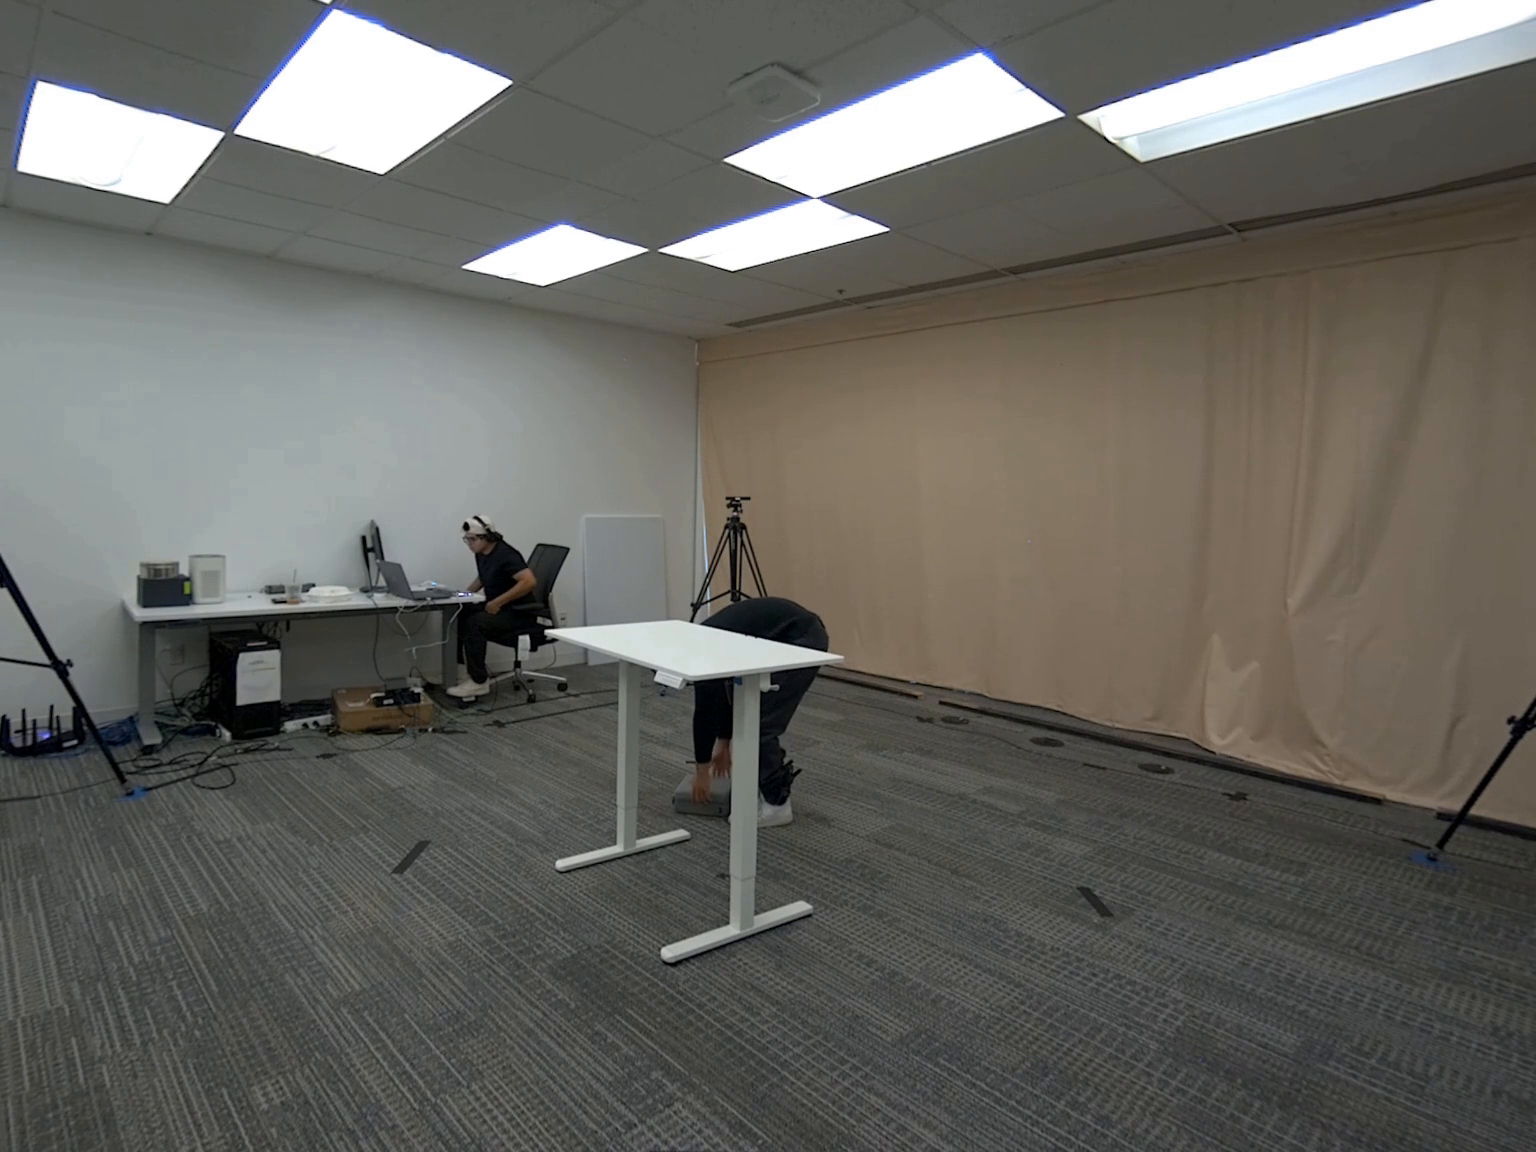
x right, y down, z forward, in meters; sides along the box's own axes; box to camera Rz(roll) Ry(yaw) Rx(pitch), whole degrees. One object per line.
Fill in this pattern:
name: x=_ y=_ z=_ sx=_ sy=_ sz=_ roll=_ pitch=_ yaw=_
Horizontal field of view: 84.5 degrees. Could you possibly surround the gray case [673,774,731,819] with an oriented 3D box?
gray case: x=-0.284 y=0.982 z=3.809 sx=0.262 sy=0.104 sz=0.256 roll=3 pitch=4 yaw=8
